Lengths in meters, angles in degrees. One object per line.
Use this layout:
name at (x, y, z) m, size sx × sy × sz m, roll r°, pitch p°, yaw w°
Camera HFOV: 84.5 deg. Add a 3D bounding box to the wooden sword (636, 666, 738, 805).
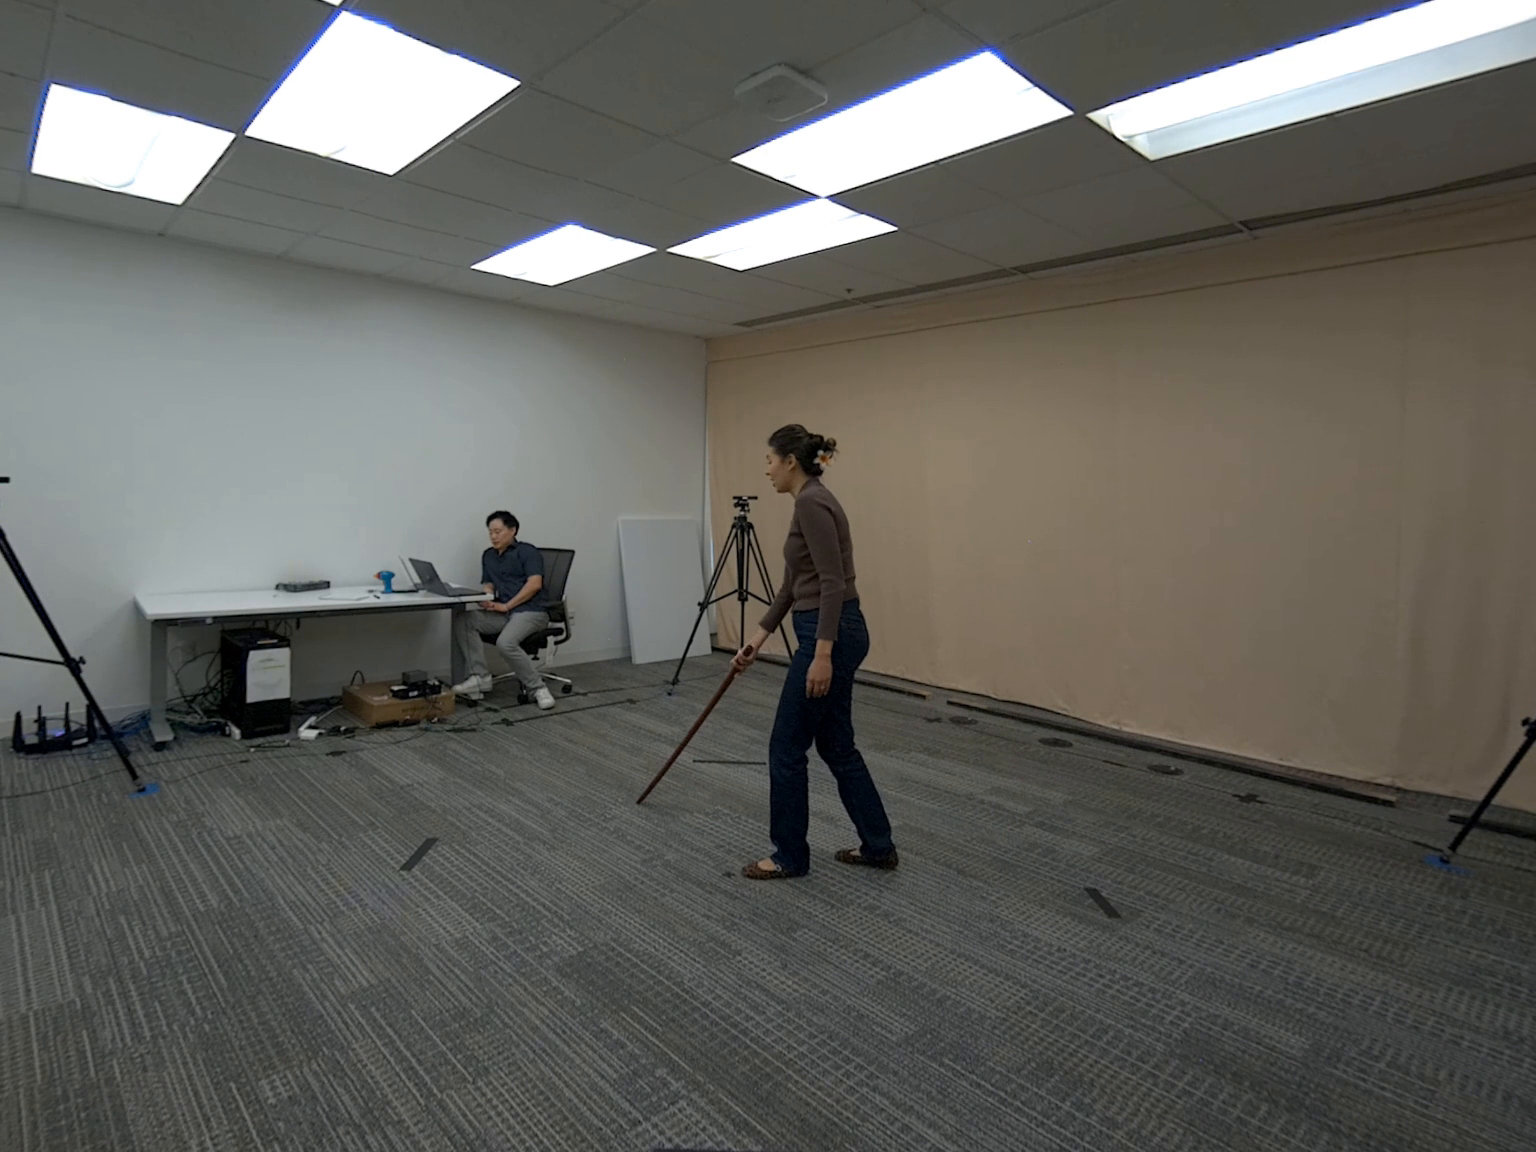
wooden sword at (-0.335, 0.664, 3.578) m, size 0.024 × 1.021 × 0.050 m, roll 45°, pitch 30°, yaw 17°
